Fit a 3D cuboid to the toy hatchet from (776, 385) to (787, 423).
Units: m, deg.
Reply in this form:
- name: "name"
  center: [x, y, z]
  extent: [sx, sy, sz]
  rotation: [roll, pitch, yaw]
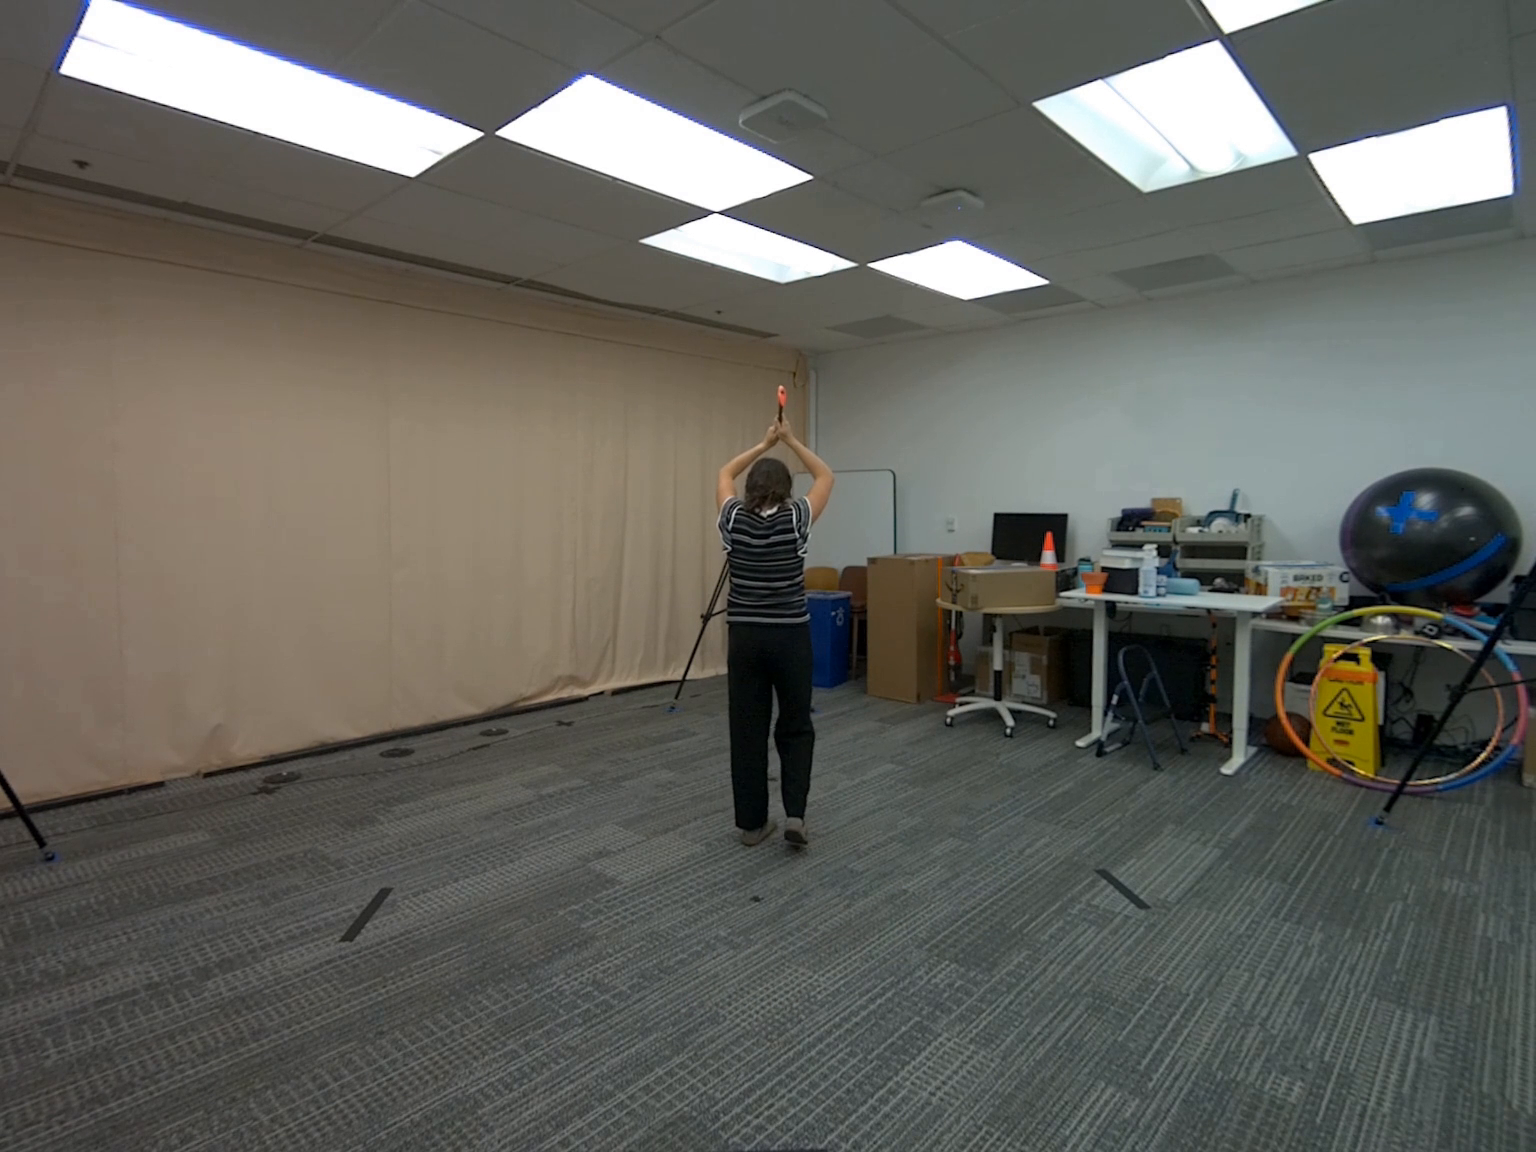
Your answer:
- name: "toy hatchet"
  center: [0.057, -0.697, 3.550]
  extent: [0.029, 0.133, 0.268]
  rotation: [-1, -23, -8]
